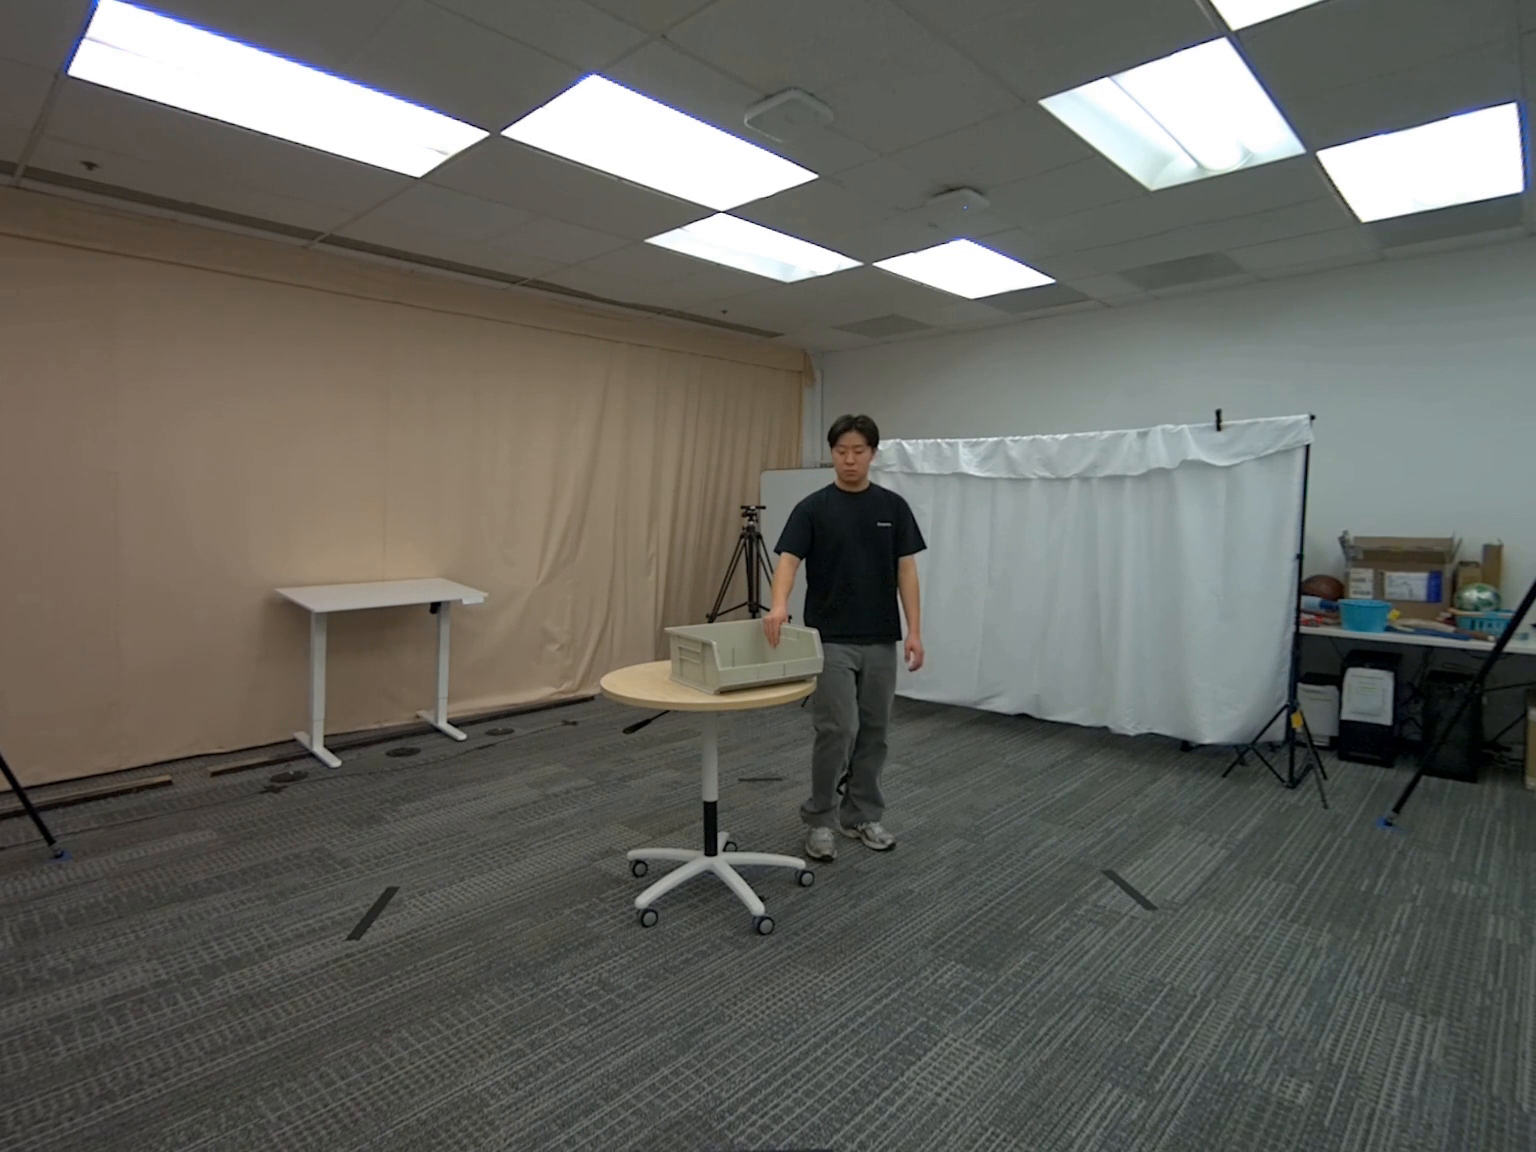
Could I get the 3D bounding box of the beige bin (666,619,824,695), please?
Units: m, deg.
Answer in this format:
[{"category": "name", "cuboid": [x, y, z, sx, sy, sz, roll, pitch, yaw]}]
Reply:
[{"category": "beige bin", "cuboid": [-0.080, 0.276, 2.926, 0.411, 0.188, 0.388, -4, 4, -31]}]
